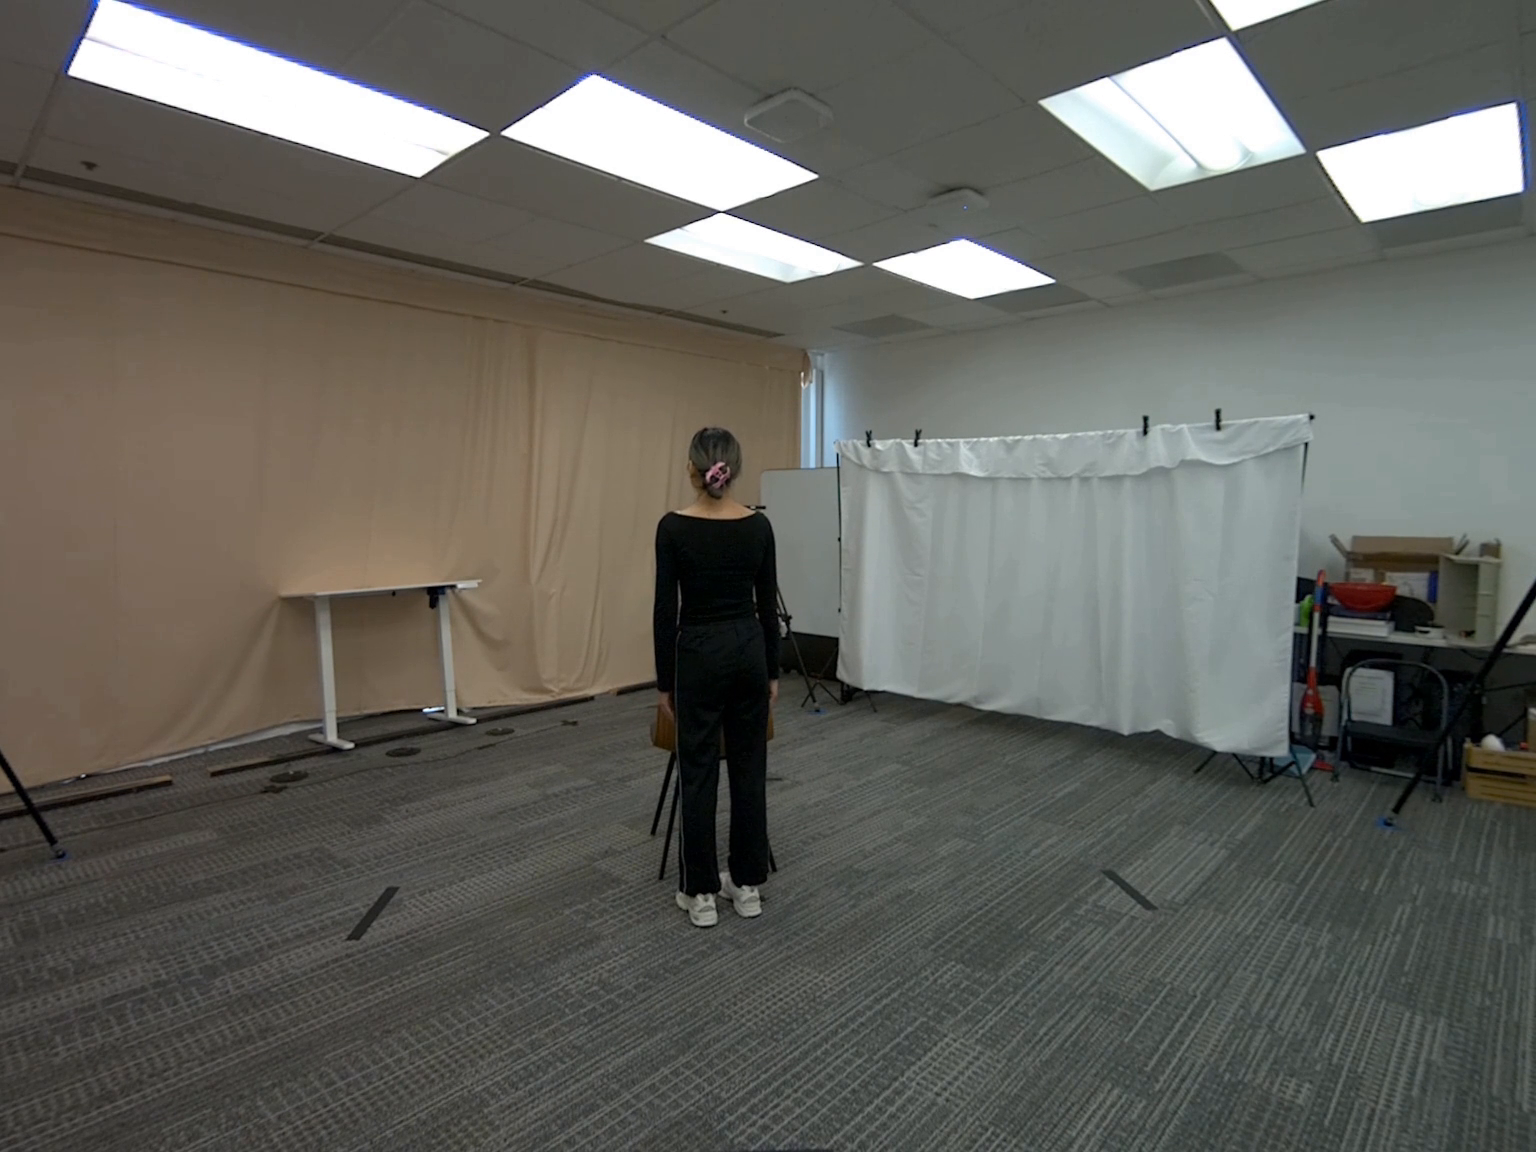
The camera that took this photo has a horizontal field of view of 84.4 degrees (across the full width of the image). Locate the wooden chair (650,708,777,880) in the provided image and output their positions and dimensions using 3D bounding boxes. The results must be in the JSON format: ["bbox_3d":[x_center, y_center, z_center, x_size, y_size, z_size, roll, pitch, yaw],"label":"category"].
[{"bbox_3d":[-0.239,0.683,3.367,0.474,0.873,0.531,-2,7,-10],"label":"wooden chair"}]
